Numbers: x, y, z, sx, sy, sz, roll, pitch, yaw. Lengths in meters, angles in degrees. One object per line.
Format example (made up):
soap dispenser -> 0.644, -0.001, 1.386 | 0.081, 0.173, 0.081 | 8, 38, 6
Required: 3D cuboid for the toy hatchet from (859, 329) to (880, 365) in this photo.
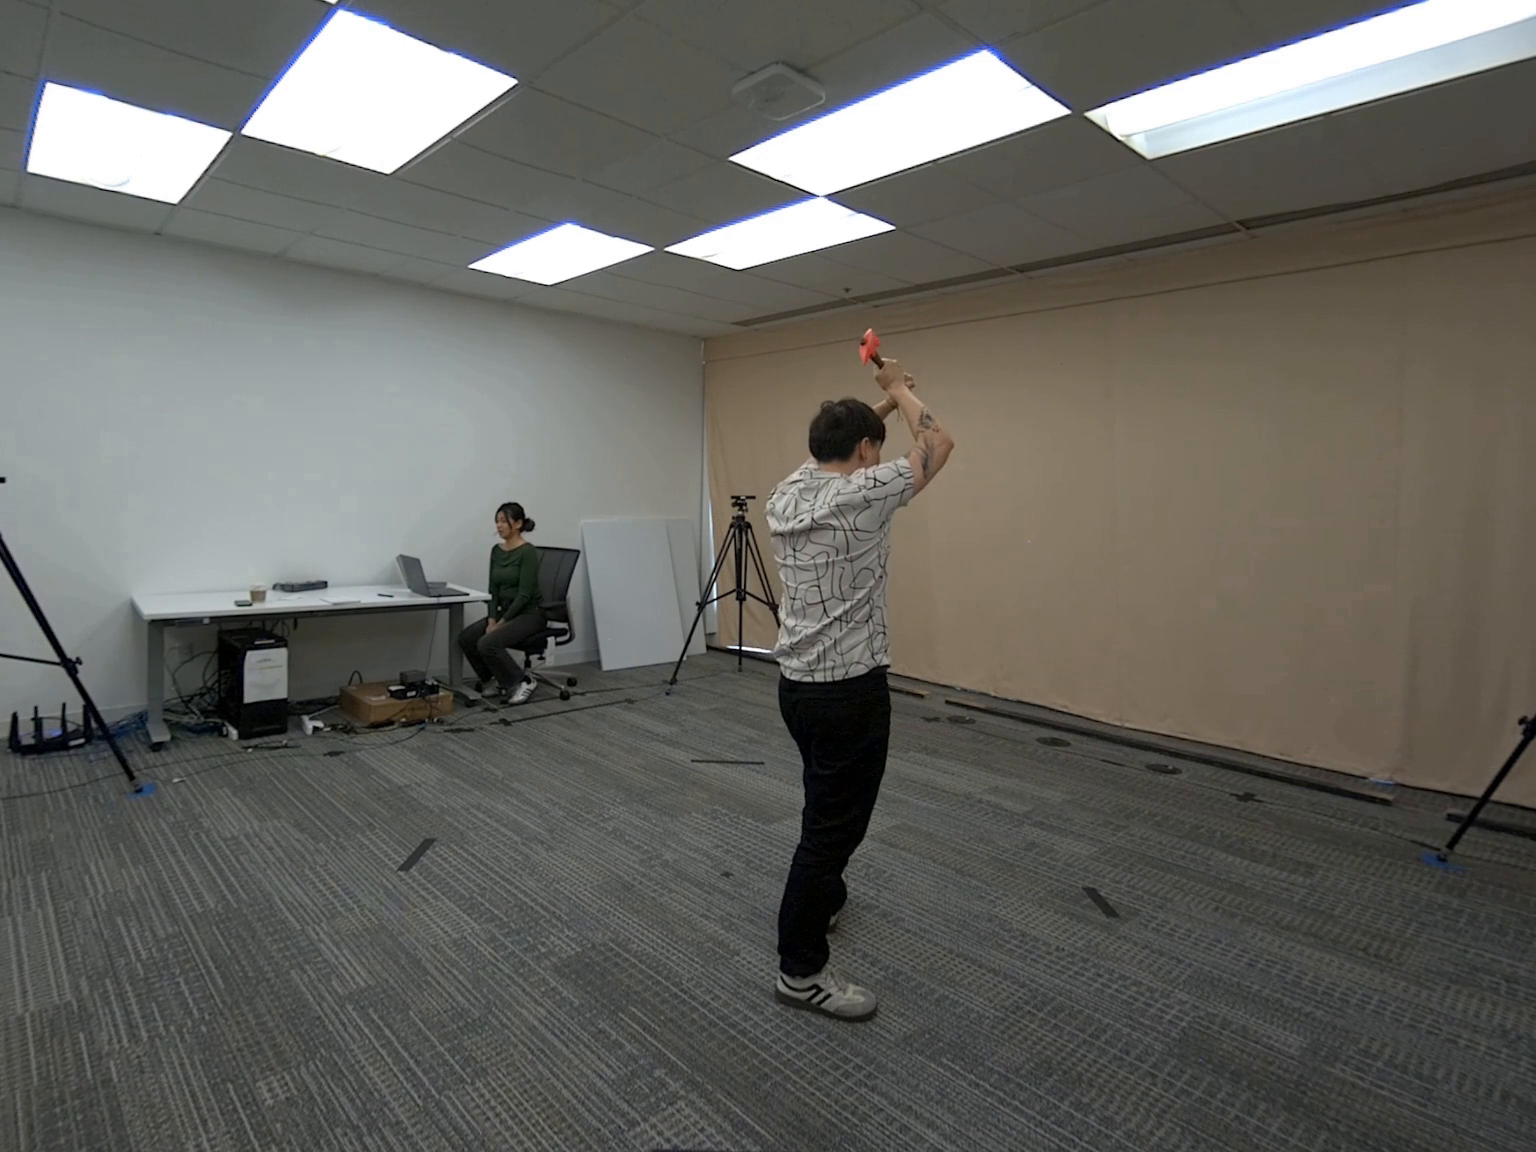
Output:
toy hatchet -> 0.341, -0.635, 2.472 | 0.030, 0.133, 0.262 | -17, -21, 40
